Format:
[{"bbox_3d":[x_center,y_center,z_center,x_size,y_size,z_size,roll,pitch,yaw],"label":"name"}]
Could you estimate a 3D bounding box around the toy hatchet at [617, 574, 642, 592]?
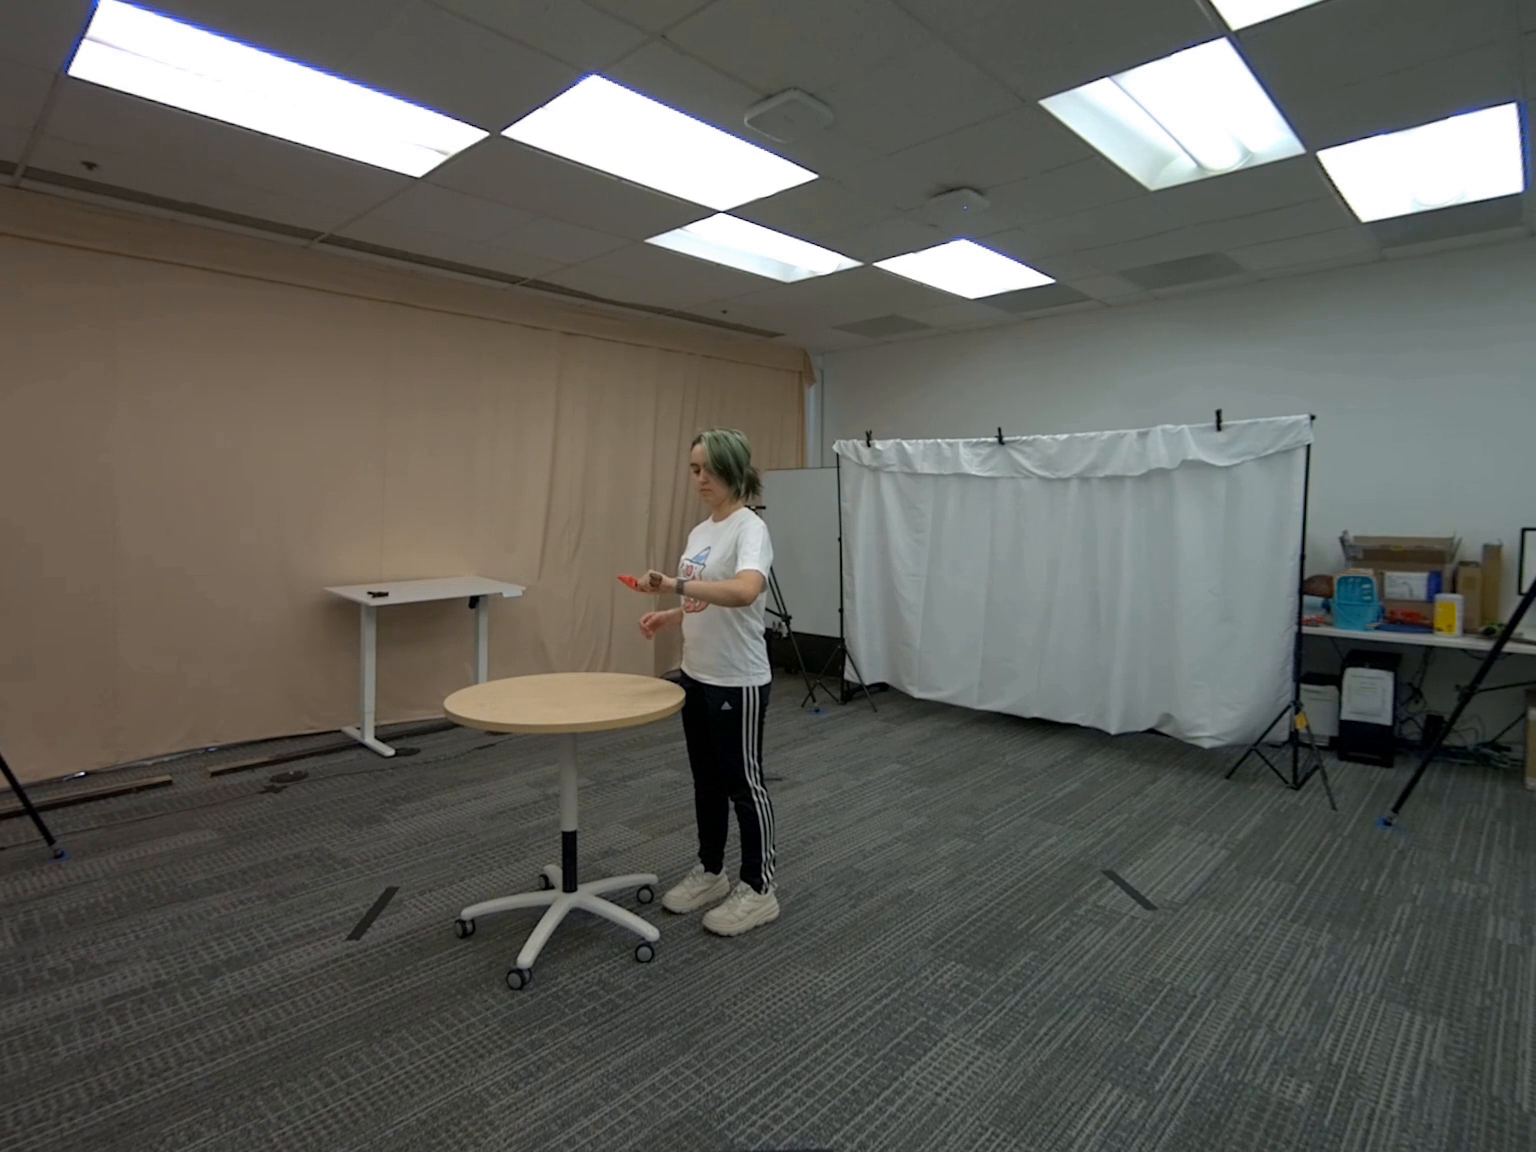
[{"bbox_3d":[-0.389,0.015,2.550,0.130,0.029,0.271,26,-10,-6],"label":"toy hatchet"}]
